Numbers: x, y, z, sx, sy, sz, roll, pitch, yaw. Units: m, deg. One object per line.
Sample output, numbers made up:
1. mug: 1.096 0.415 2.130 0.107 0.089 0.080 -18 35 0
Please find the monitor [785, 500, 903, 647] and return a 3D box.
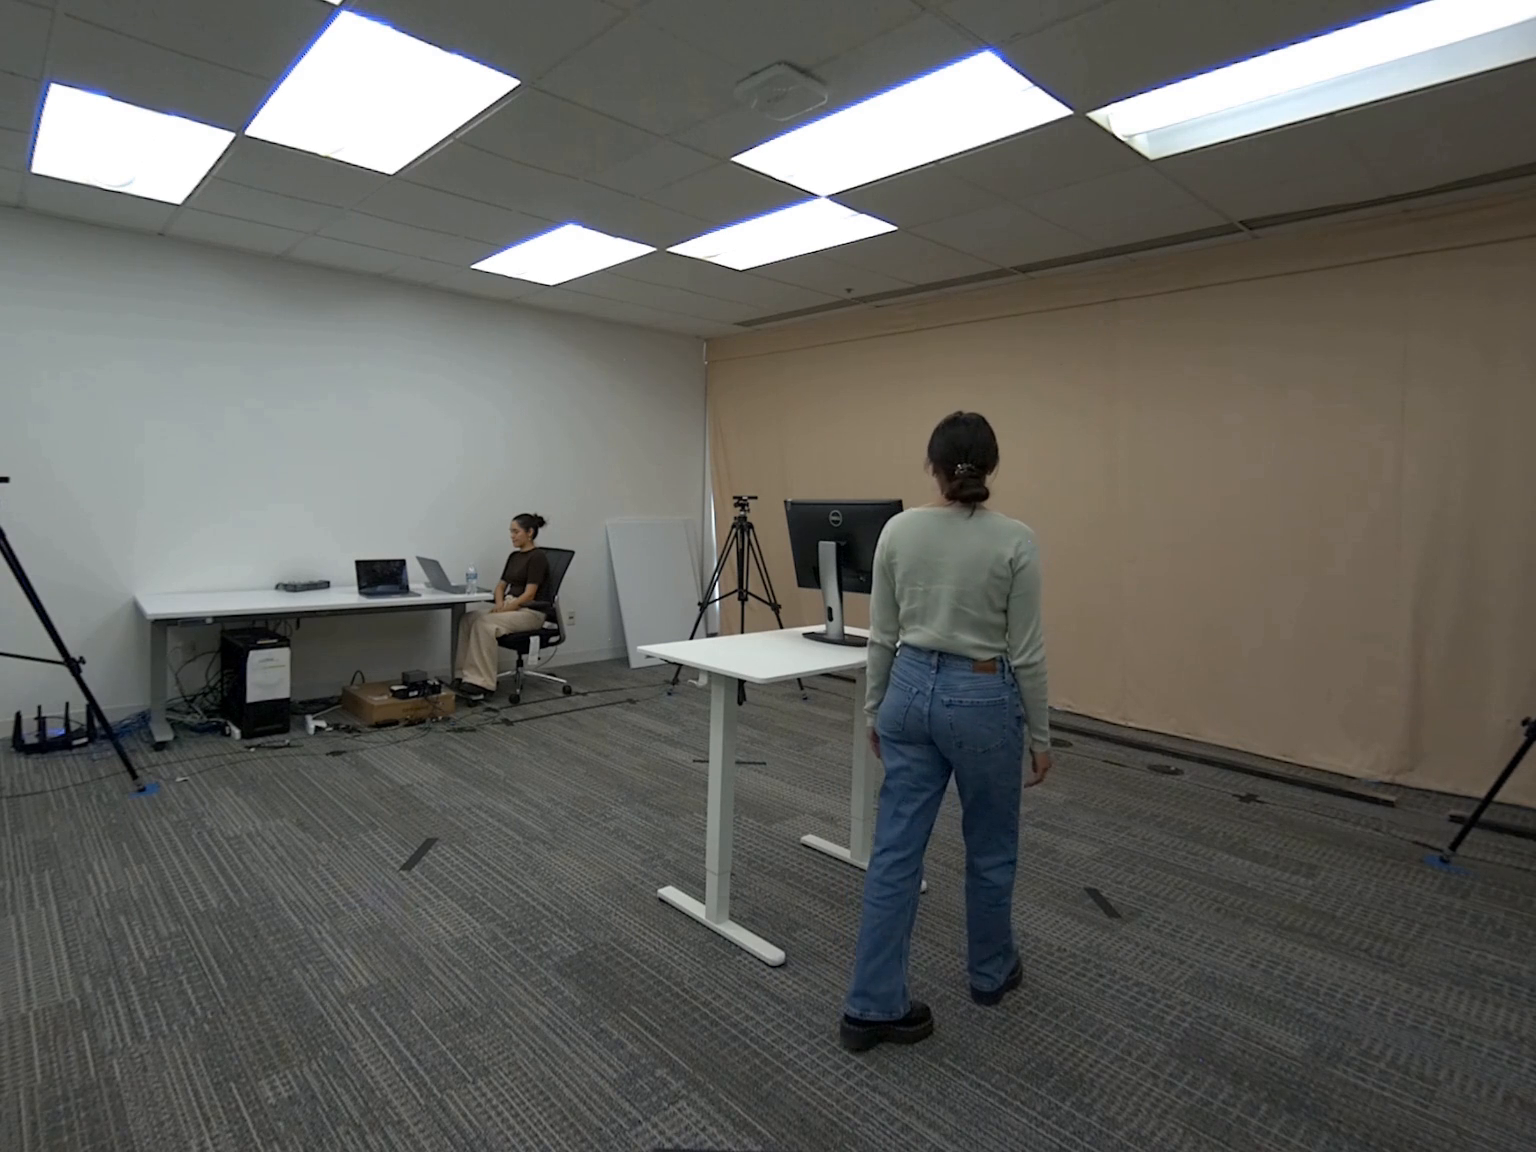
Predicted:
1. monitor: 0.257 -0.015 3.043 0.553 0.521 0.183 4 6 44
